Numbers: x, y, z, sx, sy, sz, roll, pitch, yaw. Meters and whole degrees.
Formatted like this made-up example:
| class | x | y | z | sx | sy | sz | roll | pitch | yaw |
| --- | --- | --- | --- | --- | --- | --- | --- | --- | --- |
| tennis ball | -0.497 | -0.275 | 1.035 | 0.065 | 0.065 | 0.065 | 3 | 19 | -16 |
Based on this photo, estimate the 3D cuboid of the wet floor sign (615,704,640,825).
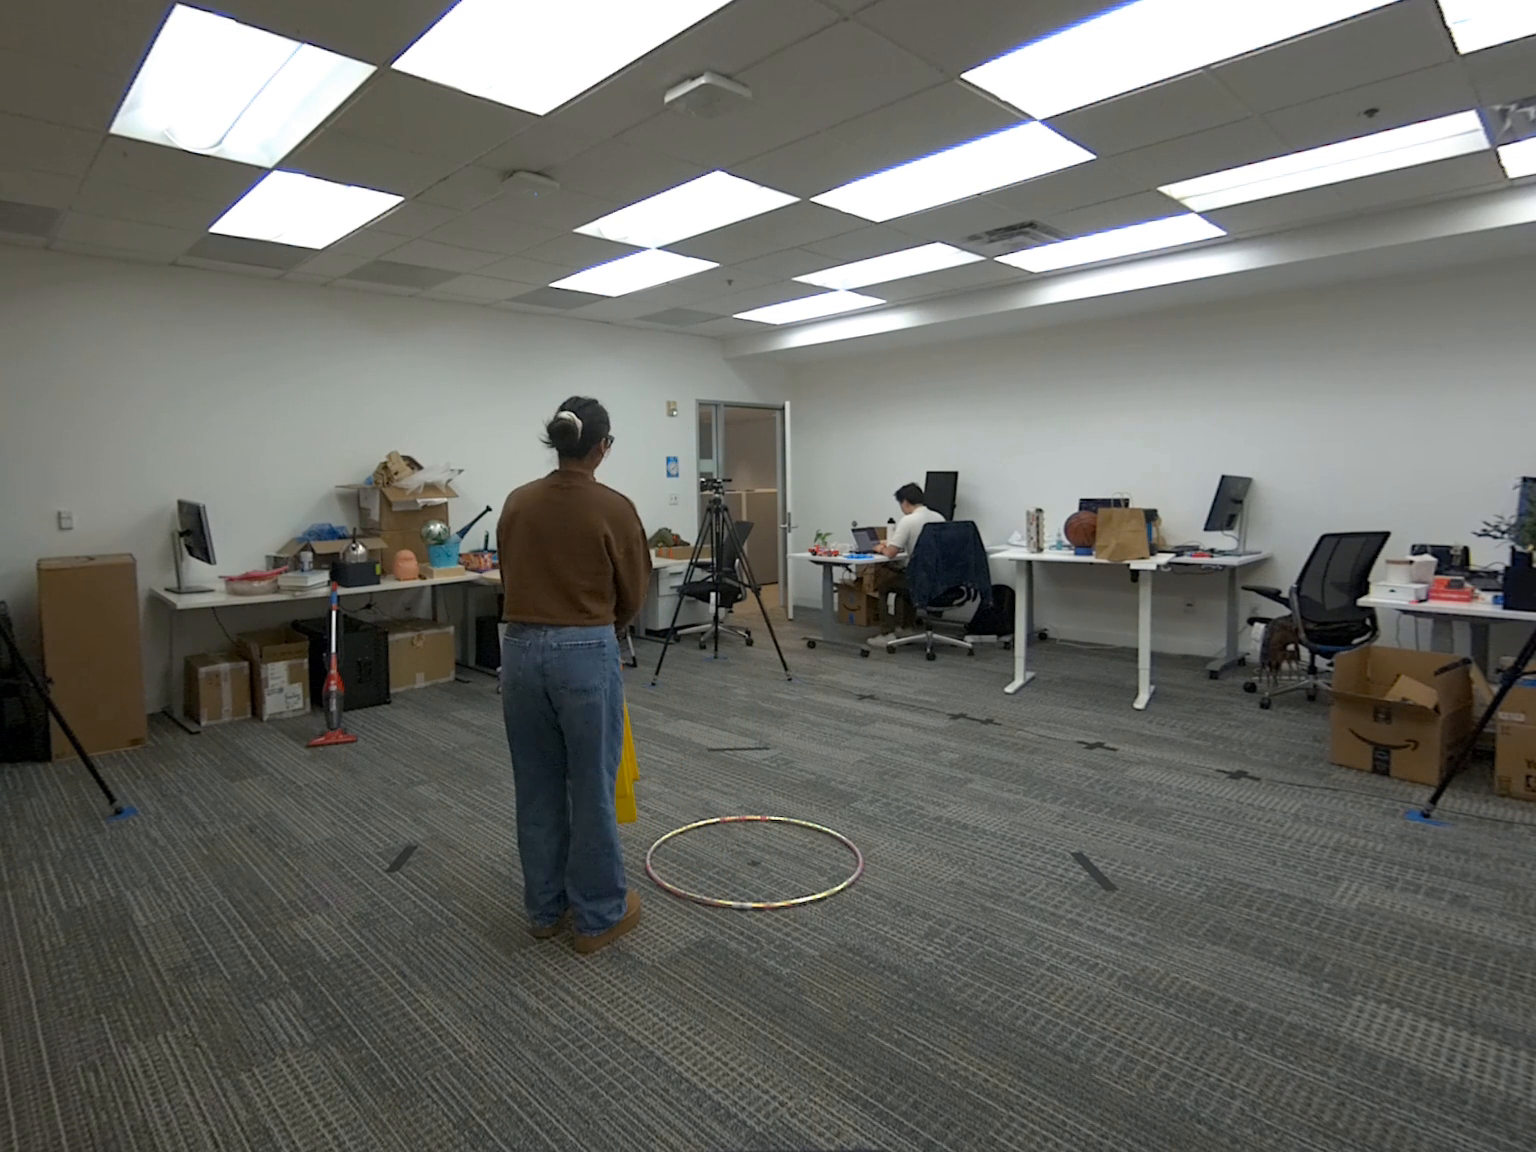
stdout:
| class | x | y | z | sx | sy | sz | roll | pitch | yaw |
| --- | --- | --- | --- | --- | --- | --- | --- | --- | --- |
| wet floor sign | -0.610 | 0.490 | 2.909 | 0.281 | 0.638 | 0.295 | -3 | 14 | -5 |
